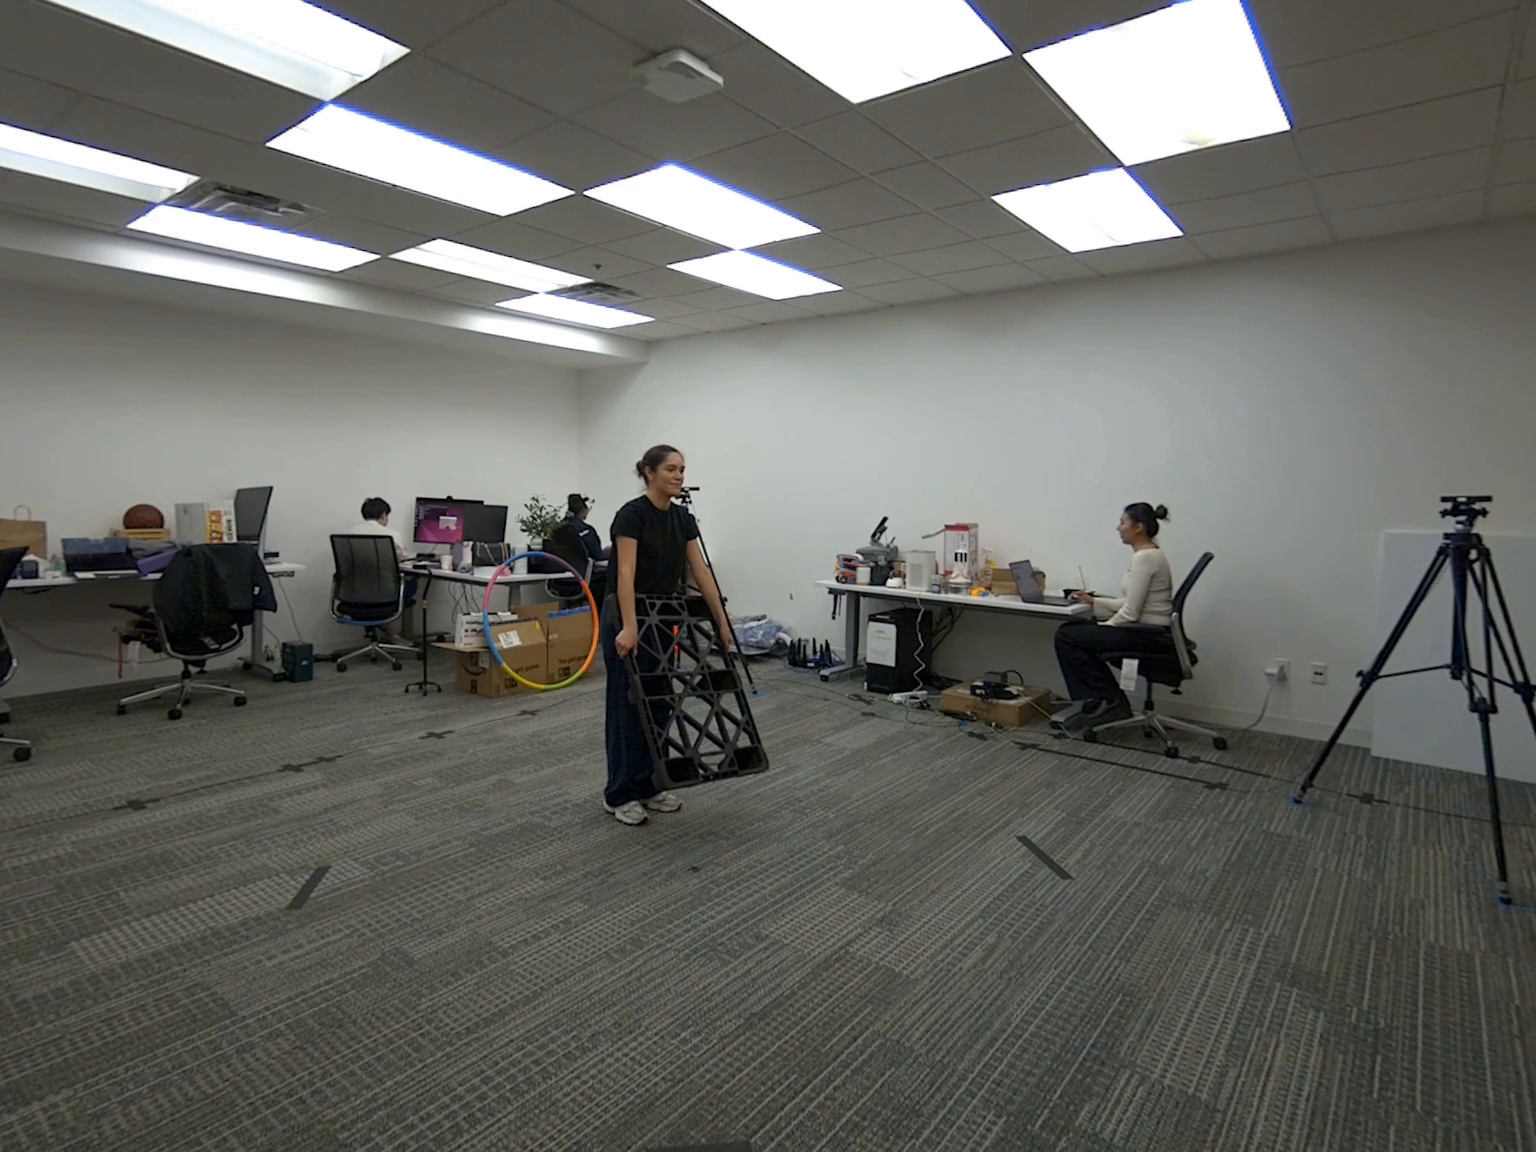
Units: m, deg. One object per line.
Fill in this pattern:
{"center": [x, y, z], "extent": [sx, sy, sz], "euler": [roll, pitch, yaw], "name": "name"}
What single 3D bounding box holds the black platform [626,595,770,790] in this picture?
{"center": [-0.331, 0.455, 3.519], "extent": [0.144, 0.827, 0.584], "euler": [-35, -27, 34], "name": "black platform"}
